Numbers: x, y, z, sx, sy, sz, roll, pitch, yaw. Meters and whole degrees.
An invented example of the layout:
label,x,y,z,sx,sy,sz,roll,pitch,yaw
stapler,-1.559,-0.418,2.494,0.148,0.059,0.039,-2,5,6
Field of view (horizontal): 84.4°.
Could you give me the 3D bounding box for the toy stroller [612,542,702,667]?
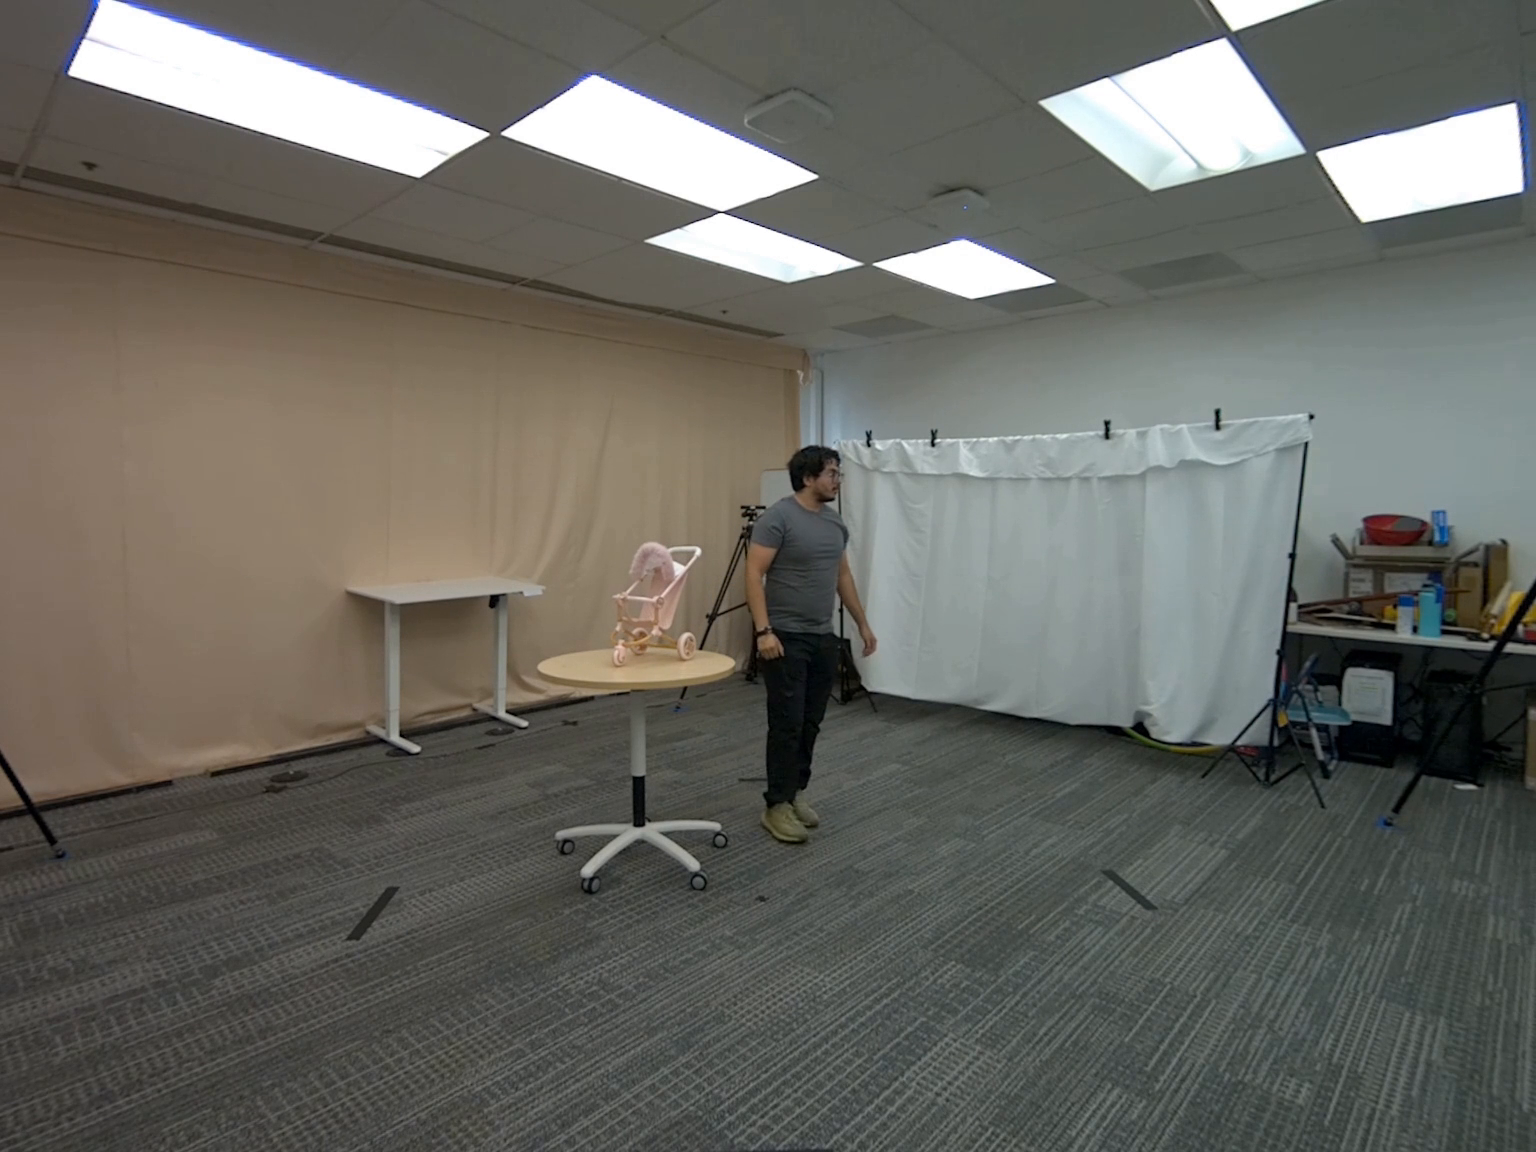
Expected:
label,x,y,z,sx,sy,sz,roll,pitch,yaw
toy stroller,-0.467,0.109,3.362,0.290,0.537,0.329,1,-11,39
